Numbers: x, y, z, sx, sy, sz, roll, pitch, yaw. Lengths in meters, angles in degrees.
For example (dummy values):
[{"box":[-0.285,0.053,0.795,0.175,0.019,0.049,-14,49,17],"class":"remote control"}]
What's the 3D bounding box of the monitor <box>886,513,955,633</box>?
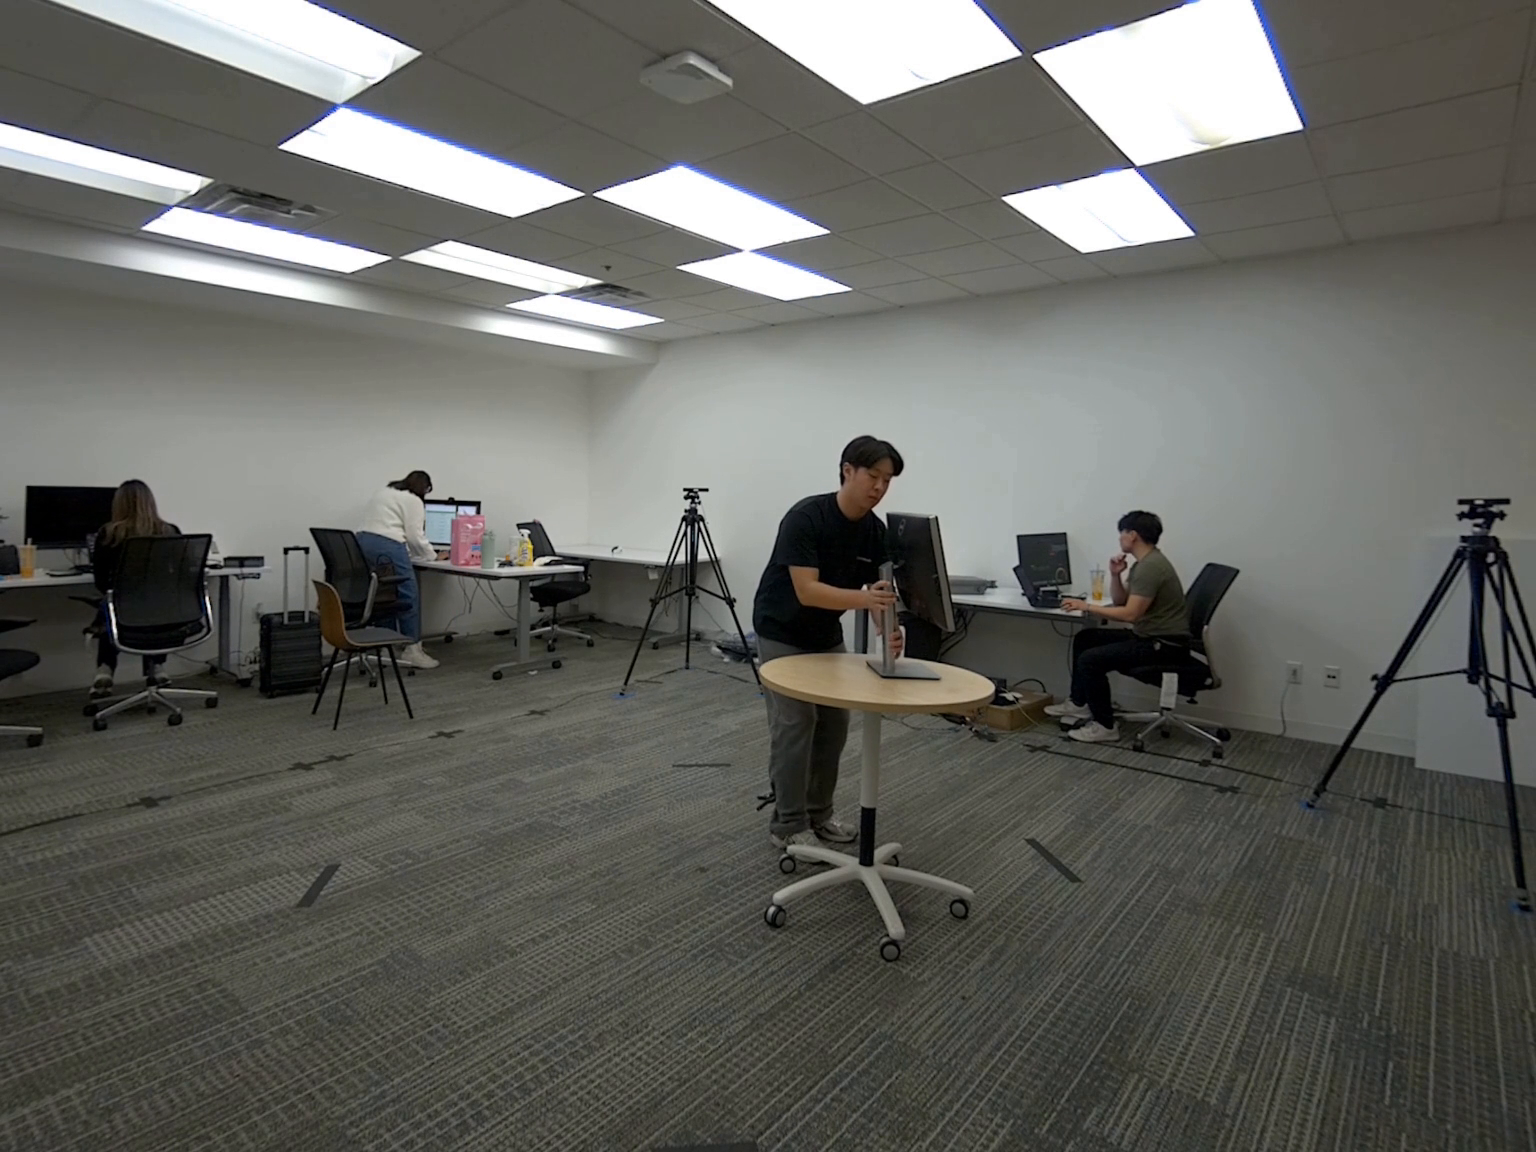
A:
[{"box":[0.469,0.062,2.901,0.221,0.564,0.566,4,4,-5],"class":"monitor"}]
